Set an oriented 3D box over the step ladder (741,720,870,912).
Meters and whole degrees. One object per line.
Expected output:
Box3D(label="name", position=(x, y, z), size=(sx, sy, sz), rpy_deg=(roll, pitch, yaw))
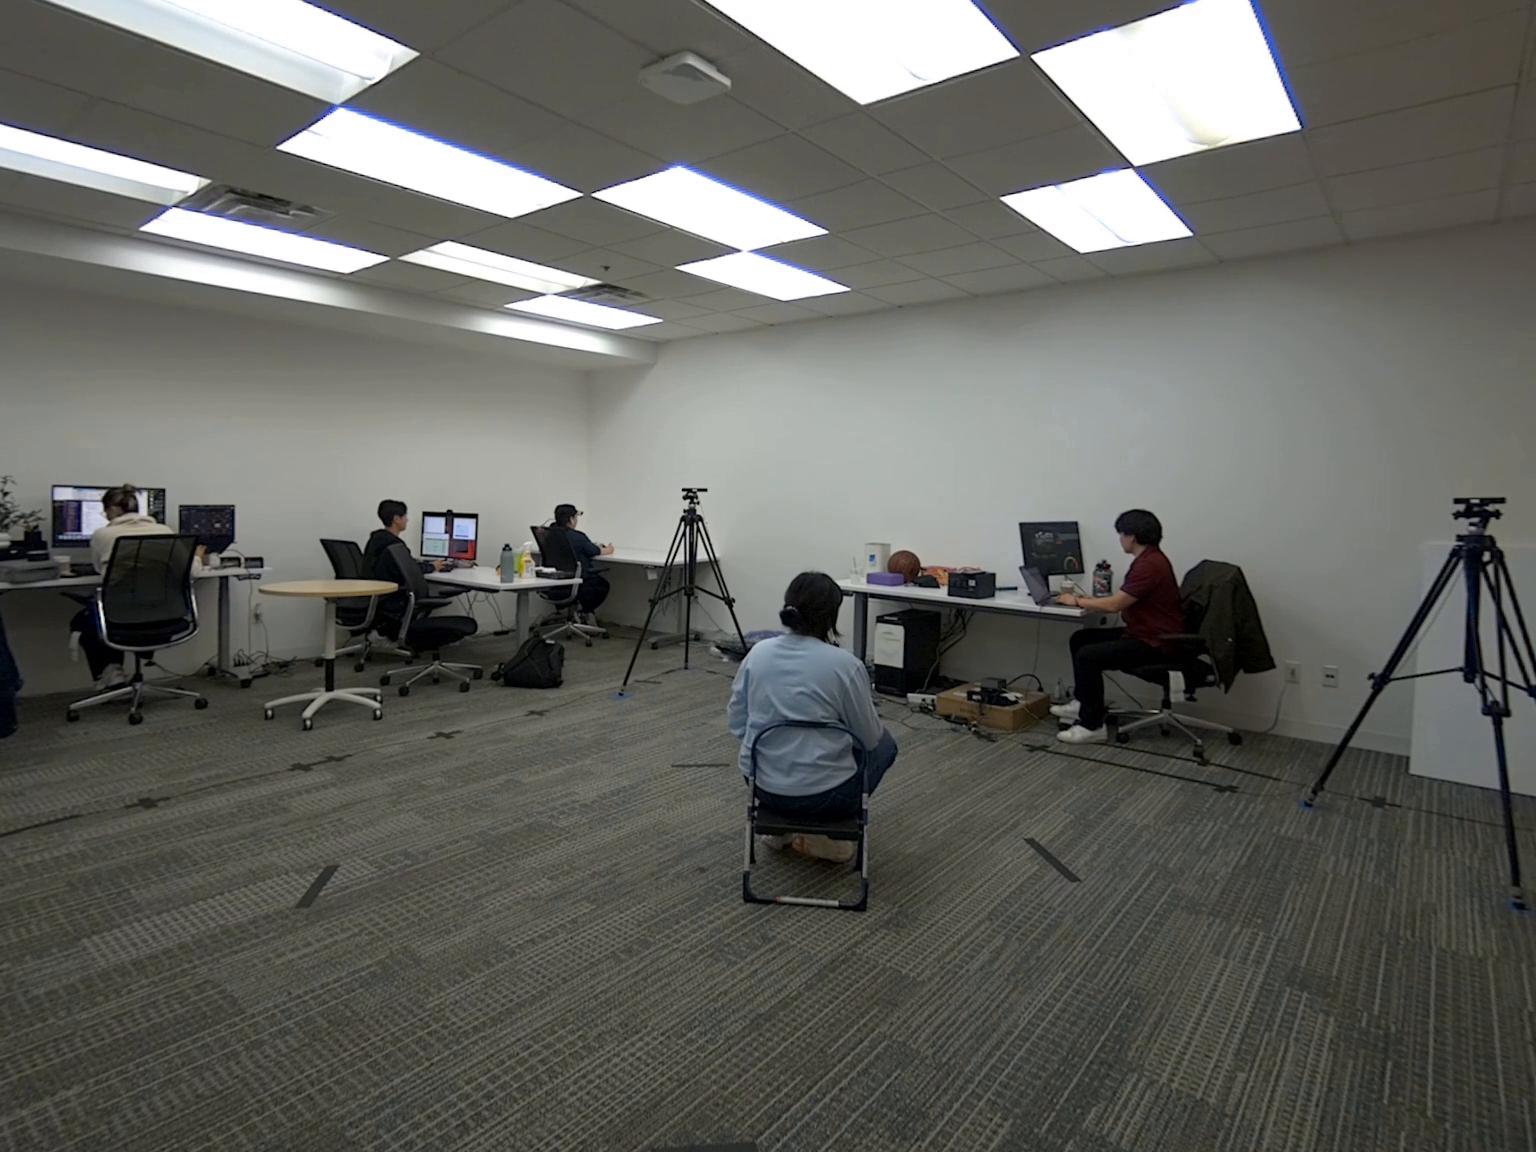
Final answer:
Box3D(label="step ladder", position=(0.128, 0.793, 2.988), size=(0.432, 0.605, 0.348), rpy_deg=(0, 2, 3))
